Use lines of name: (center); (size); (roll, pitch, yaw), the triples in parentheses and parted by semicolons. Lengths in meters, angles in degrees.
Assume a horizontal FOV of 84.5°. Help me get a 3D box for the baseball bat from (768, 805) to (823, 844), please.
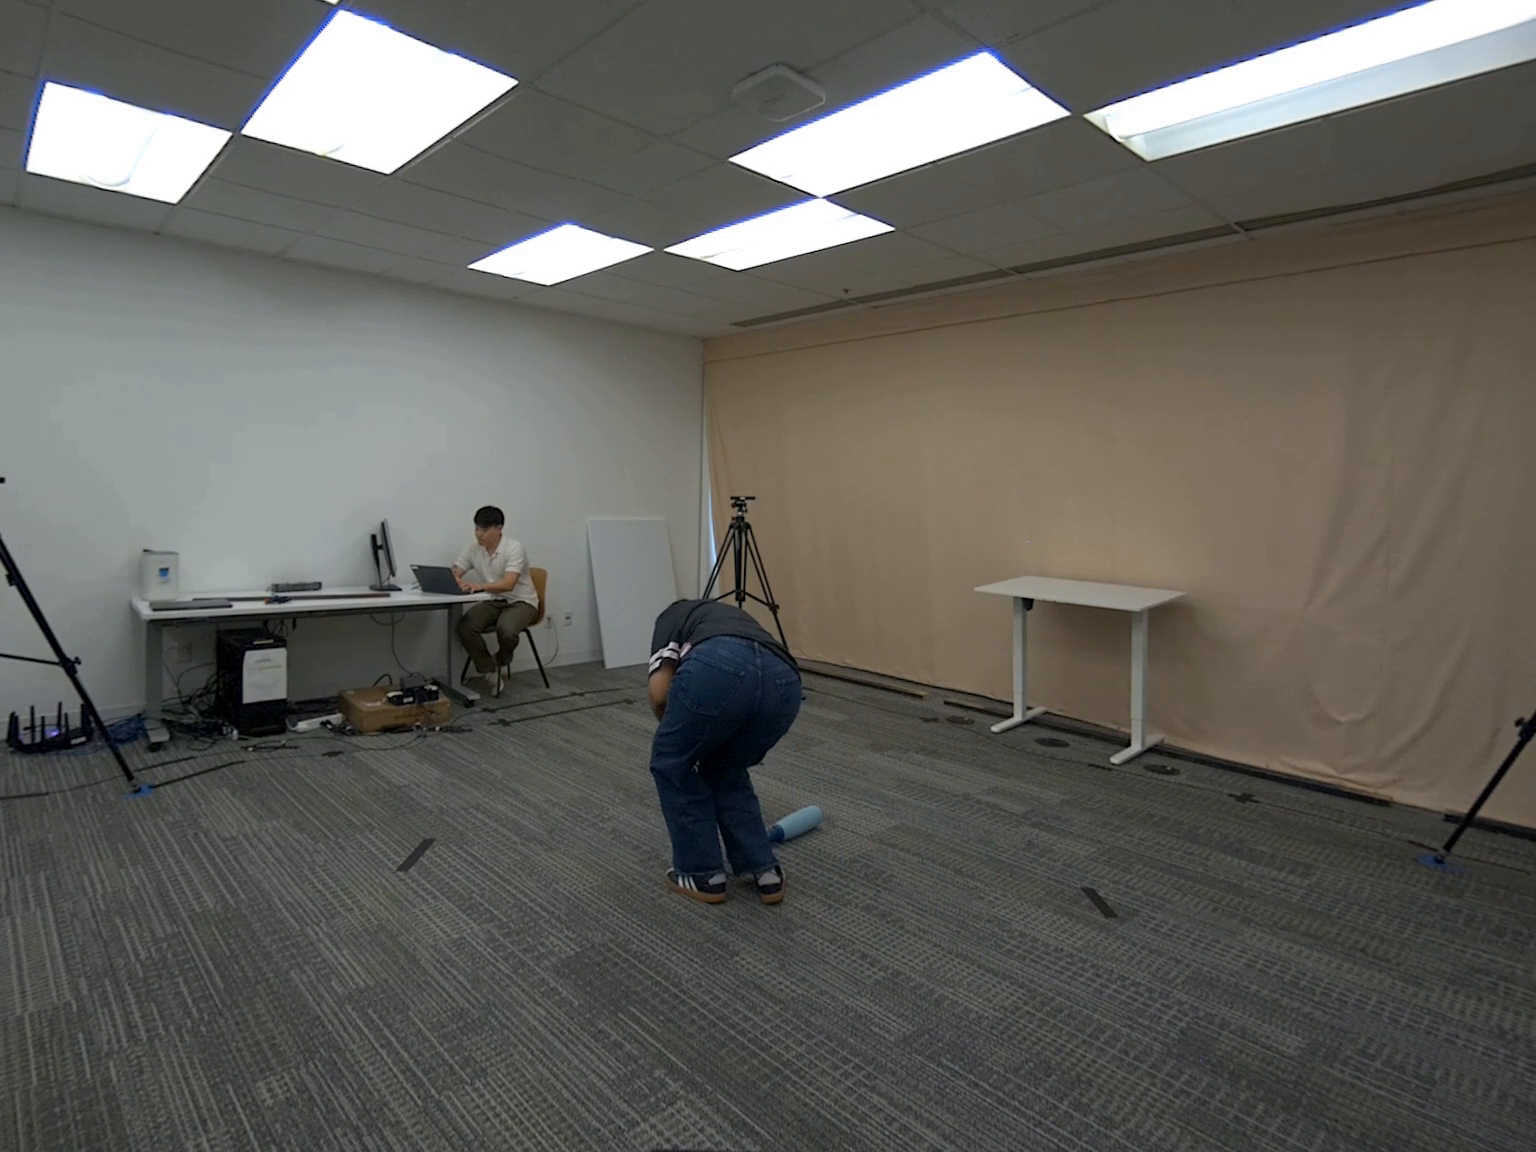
baseball bat: (0.020, 1.048, 3.402); (0.091, 0.088, 0.532); (5, 10, 43)
